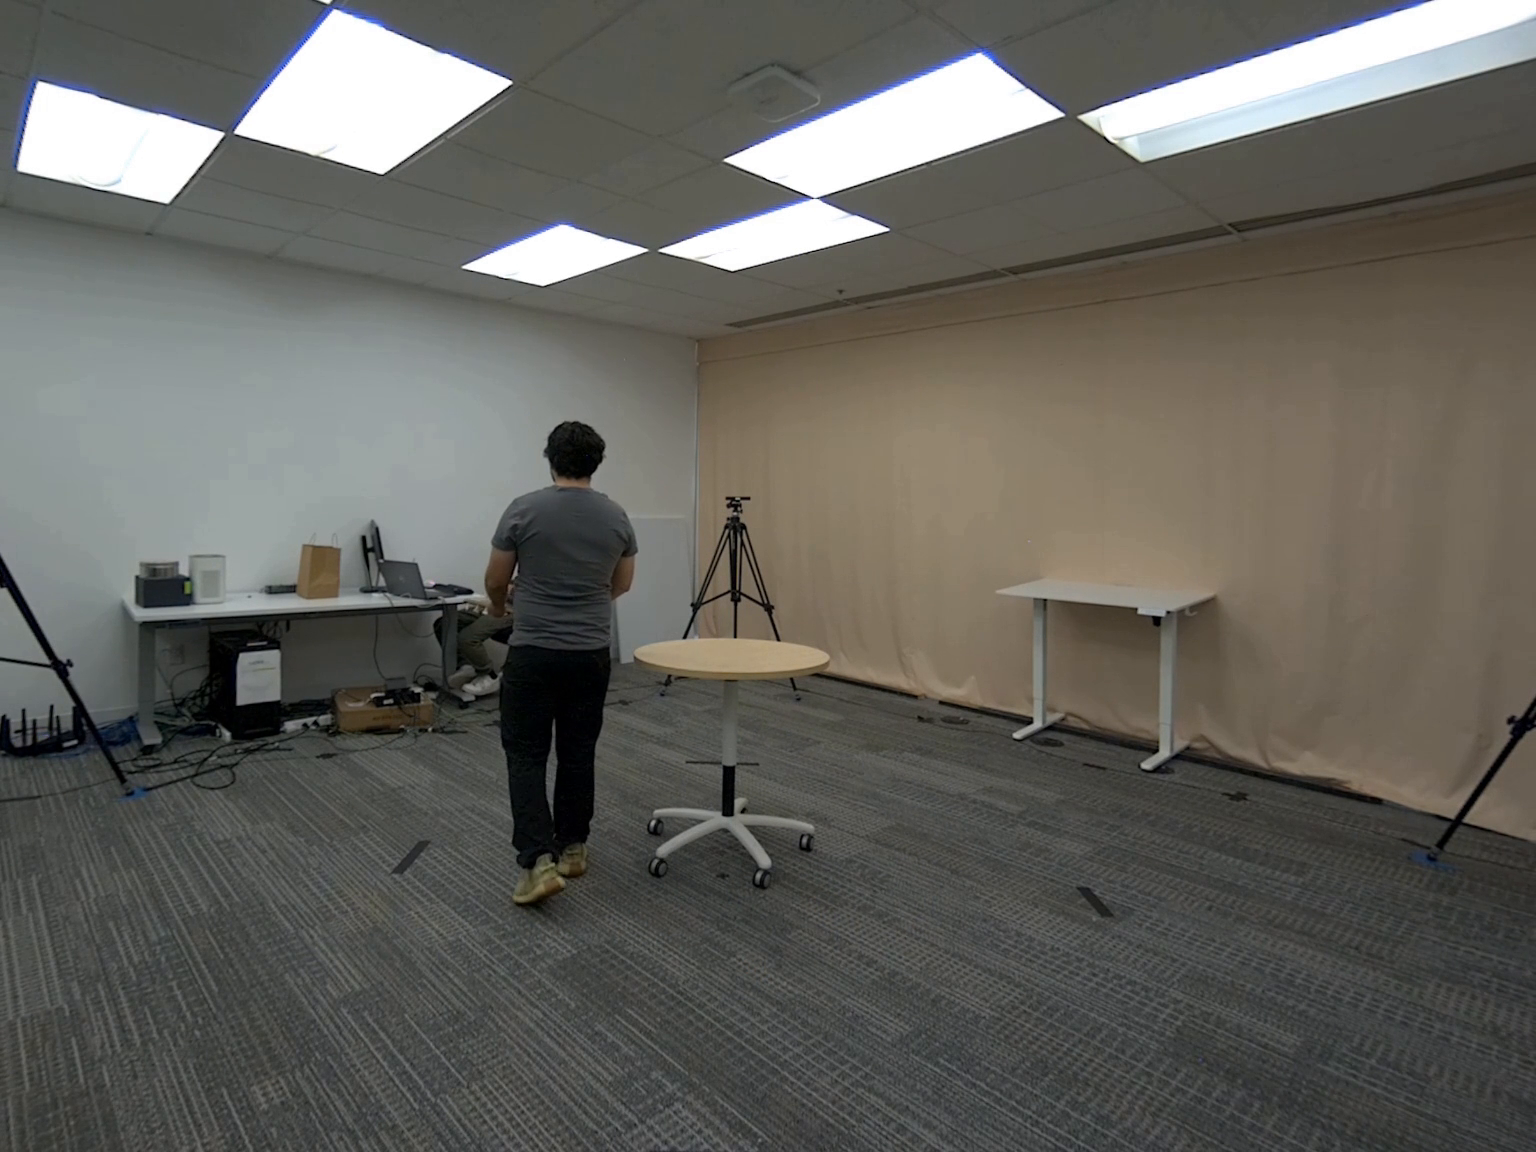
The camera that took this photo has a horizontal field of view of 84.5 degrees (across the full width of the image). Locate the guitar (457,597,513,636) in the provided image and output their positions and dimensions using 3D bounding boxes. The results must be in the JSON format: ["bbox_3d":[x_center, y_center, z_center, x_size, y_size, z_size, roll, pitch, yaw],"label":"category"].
[{"bbox_3d":[-0.949,0.179,3.341,0.501,0.071,0.189,7,-23,7],"label":"guitar"}]
